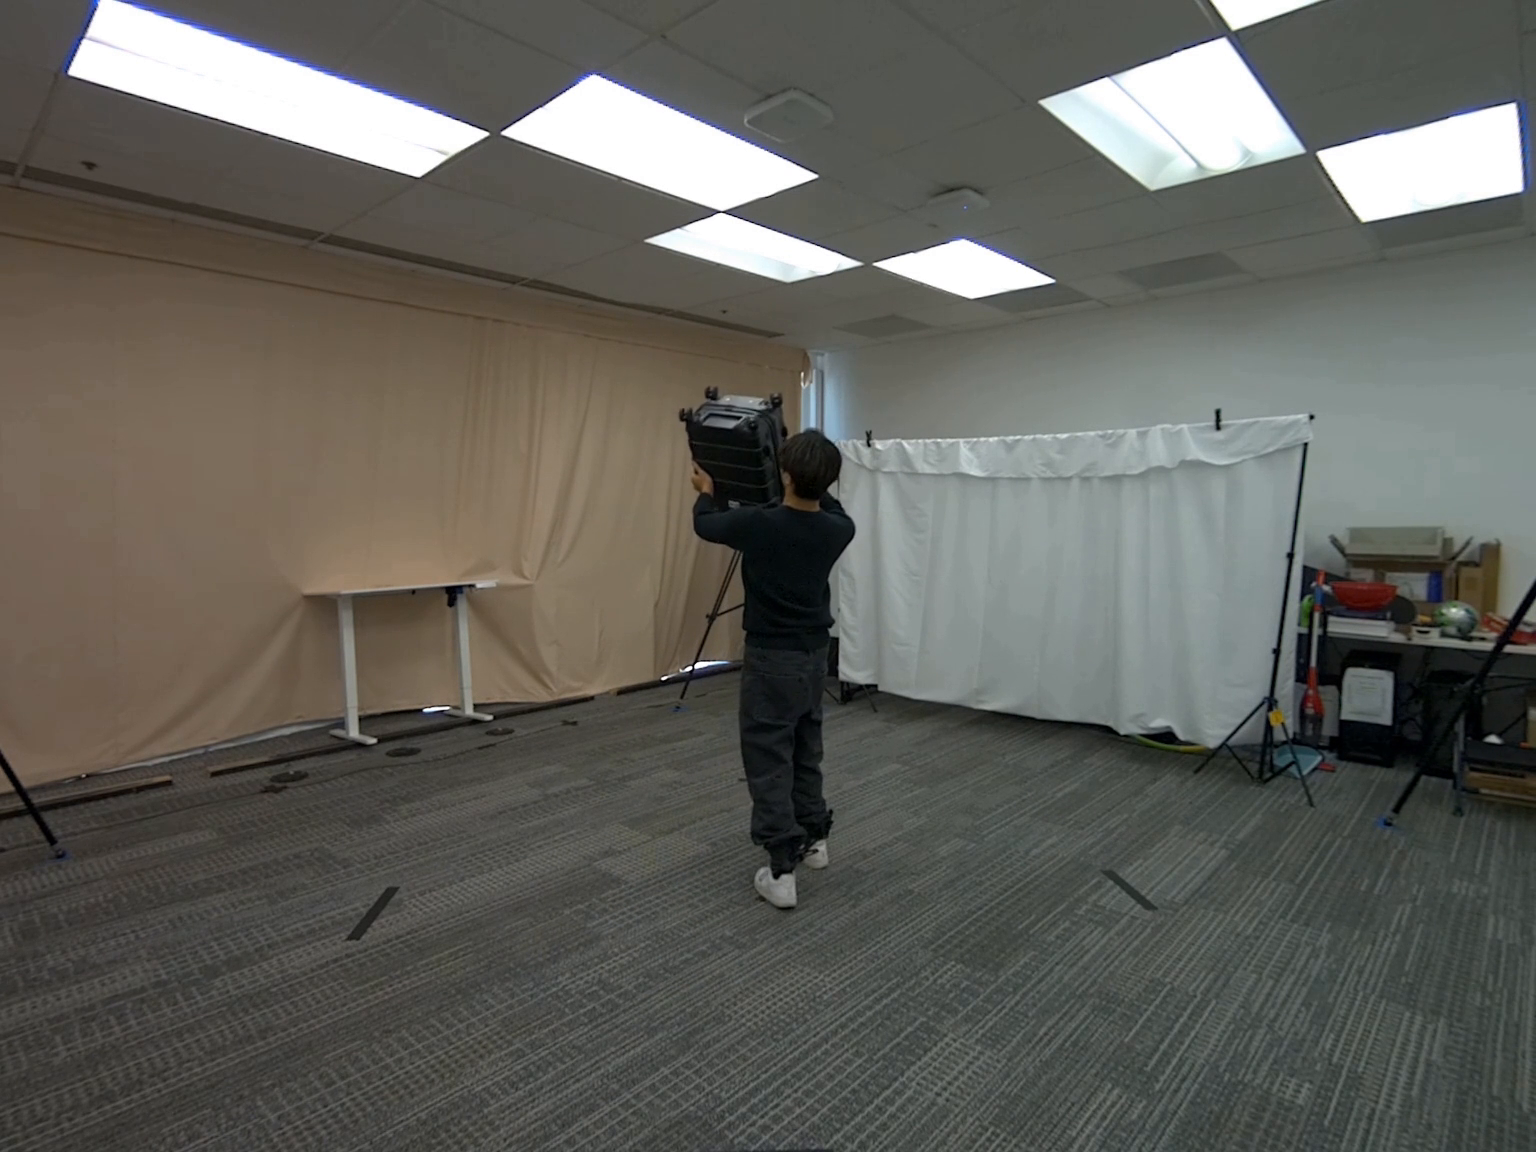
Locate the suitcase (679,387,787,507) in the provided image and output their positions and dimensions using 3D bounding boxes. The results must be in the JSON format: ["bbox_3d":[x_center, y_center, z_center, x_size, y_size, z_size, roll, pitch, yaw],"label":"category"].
[{"bbox_3d":[-0.106,-0.459,3.369,0.387,0.536,0.246,12,42,30],"label":"suitcase"}]
